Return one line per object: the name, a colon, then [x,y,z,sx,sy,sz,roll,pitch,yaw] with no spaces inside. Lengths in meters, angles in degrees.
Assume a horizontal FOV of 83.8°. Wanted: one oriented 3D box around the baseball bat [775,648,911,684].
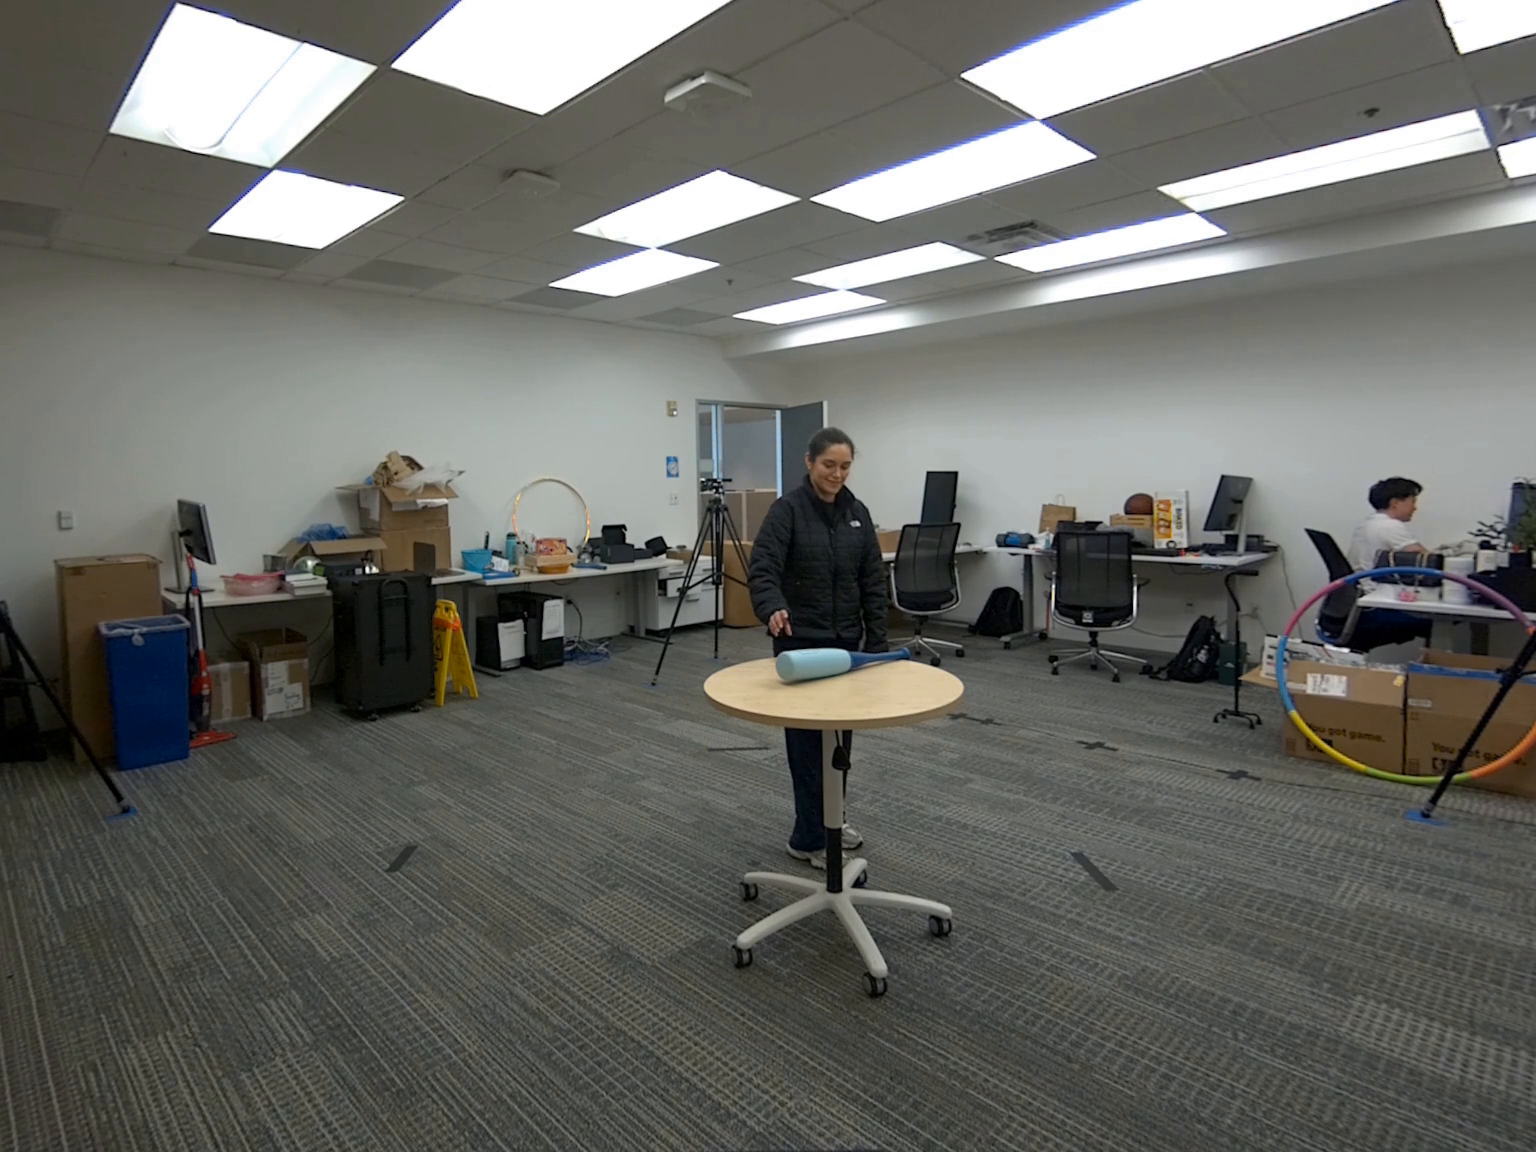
baseball bat: [0.241,0.268,2.715,0.528,0.089,0.092,-1,4,-38]
